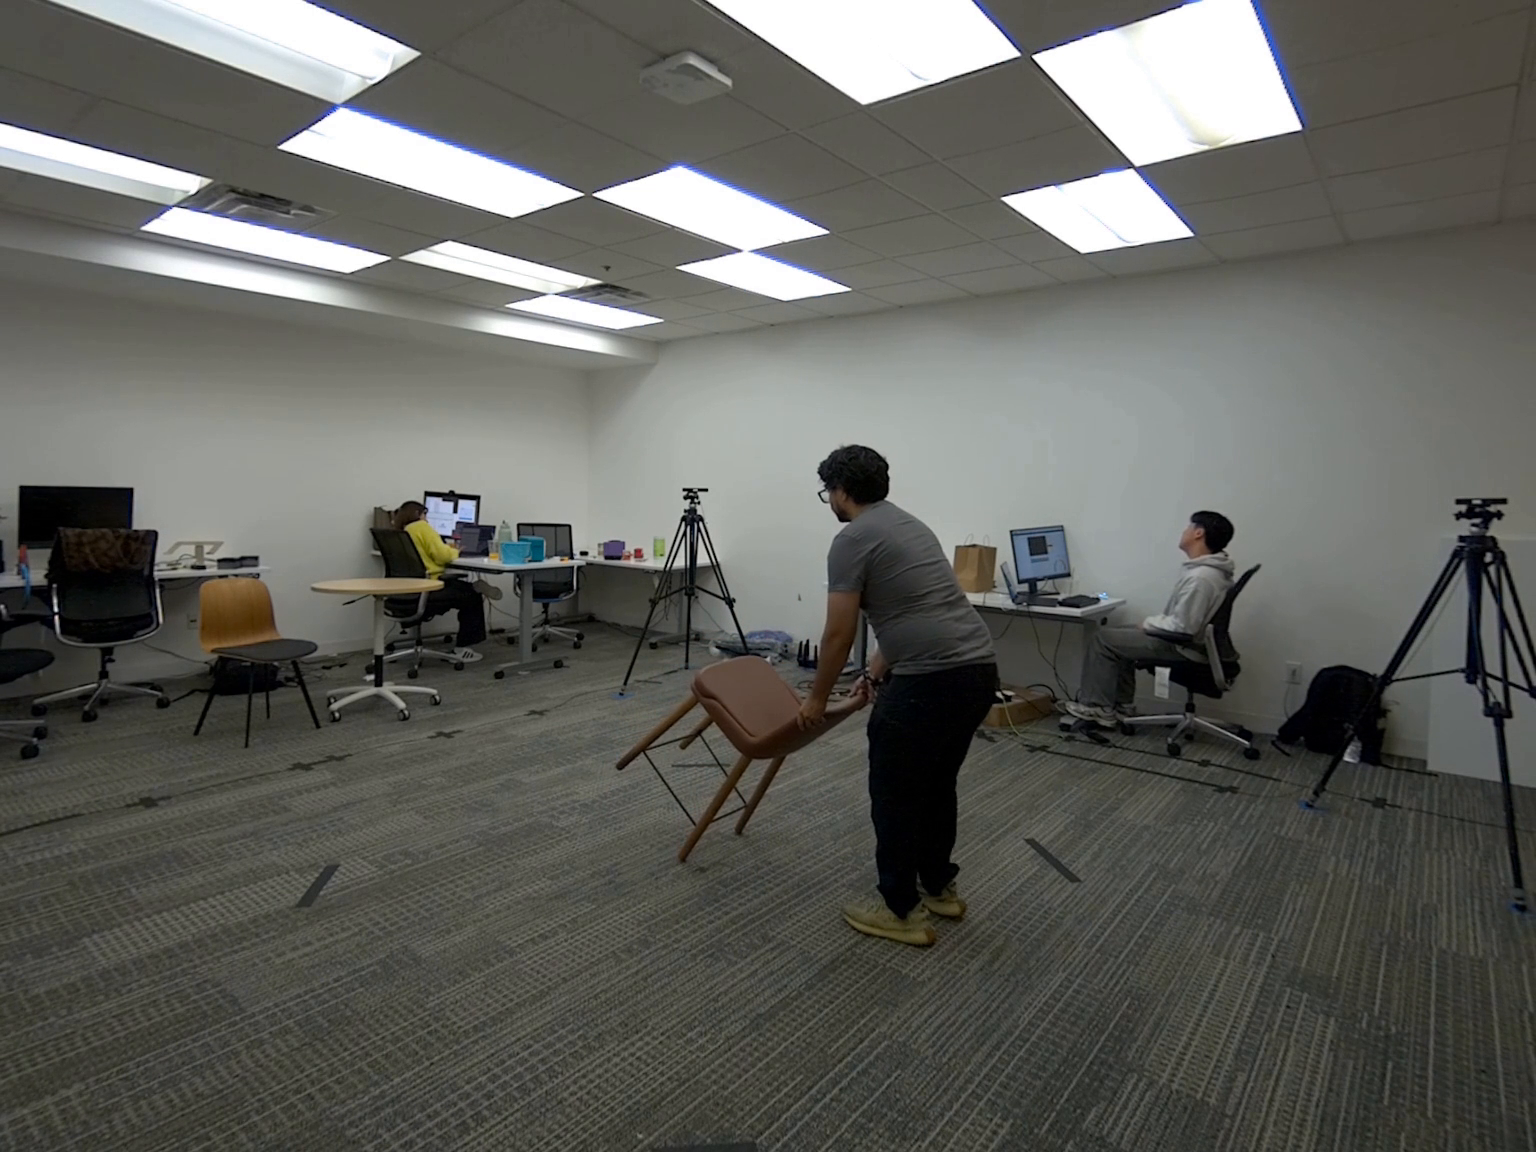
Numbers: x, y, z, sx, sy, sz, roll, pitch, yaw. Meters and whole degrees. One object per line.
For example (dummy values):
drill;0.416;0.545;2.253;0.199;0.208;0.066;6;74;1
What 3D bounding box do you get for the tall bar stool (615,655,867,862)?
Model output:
tall bar stool;-0.118;0.594;3.214;0.443;0.888;0.483;-2;48;-53
